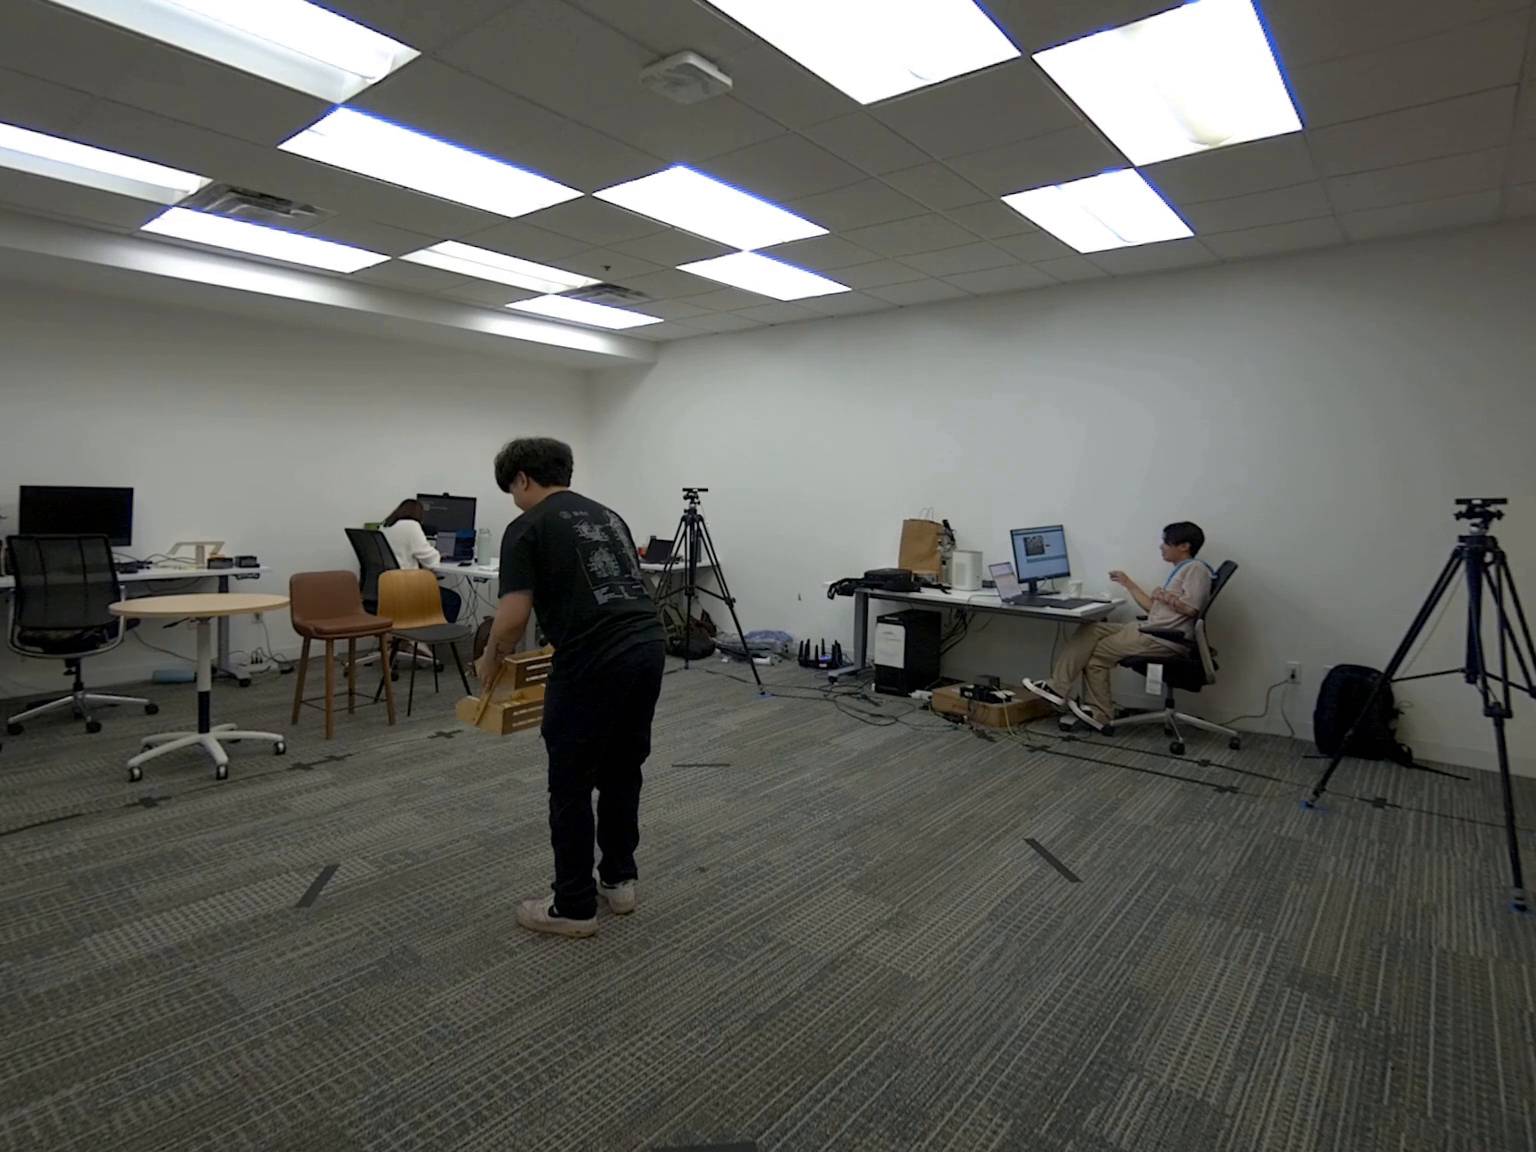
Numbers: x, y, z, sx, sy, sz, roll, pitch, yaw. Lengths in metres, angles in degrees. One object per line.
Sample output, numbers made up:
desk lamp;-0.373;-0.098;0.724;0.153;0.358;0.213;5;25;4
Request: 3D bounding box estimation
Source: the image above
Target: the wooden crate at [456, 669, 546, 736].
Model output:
wooden crate;-0.879;0.369;2.963;0.312;0.272;0.315;9;8;33
